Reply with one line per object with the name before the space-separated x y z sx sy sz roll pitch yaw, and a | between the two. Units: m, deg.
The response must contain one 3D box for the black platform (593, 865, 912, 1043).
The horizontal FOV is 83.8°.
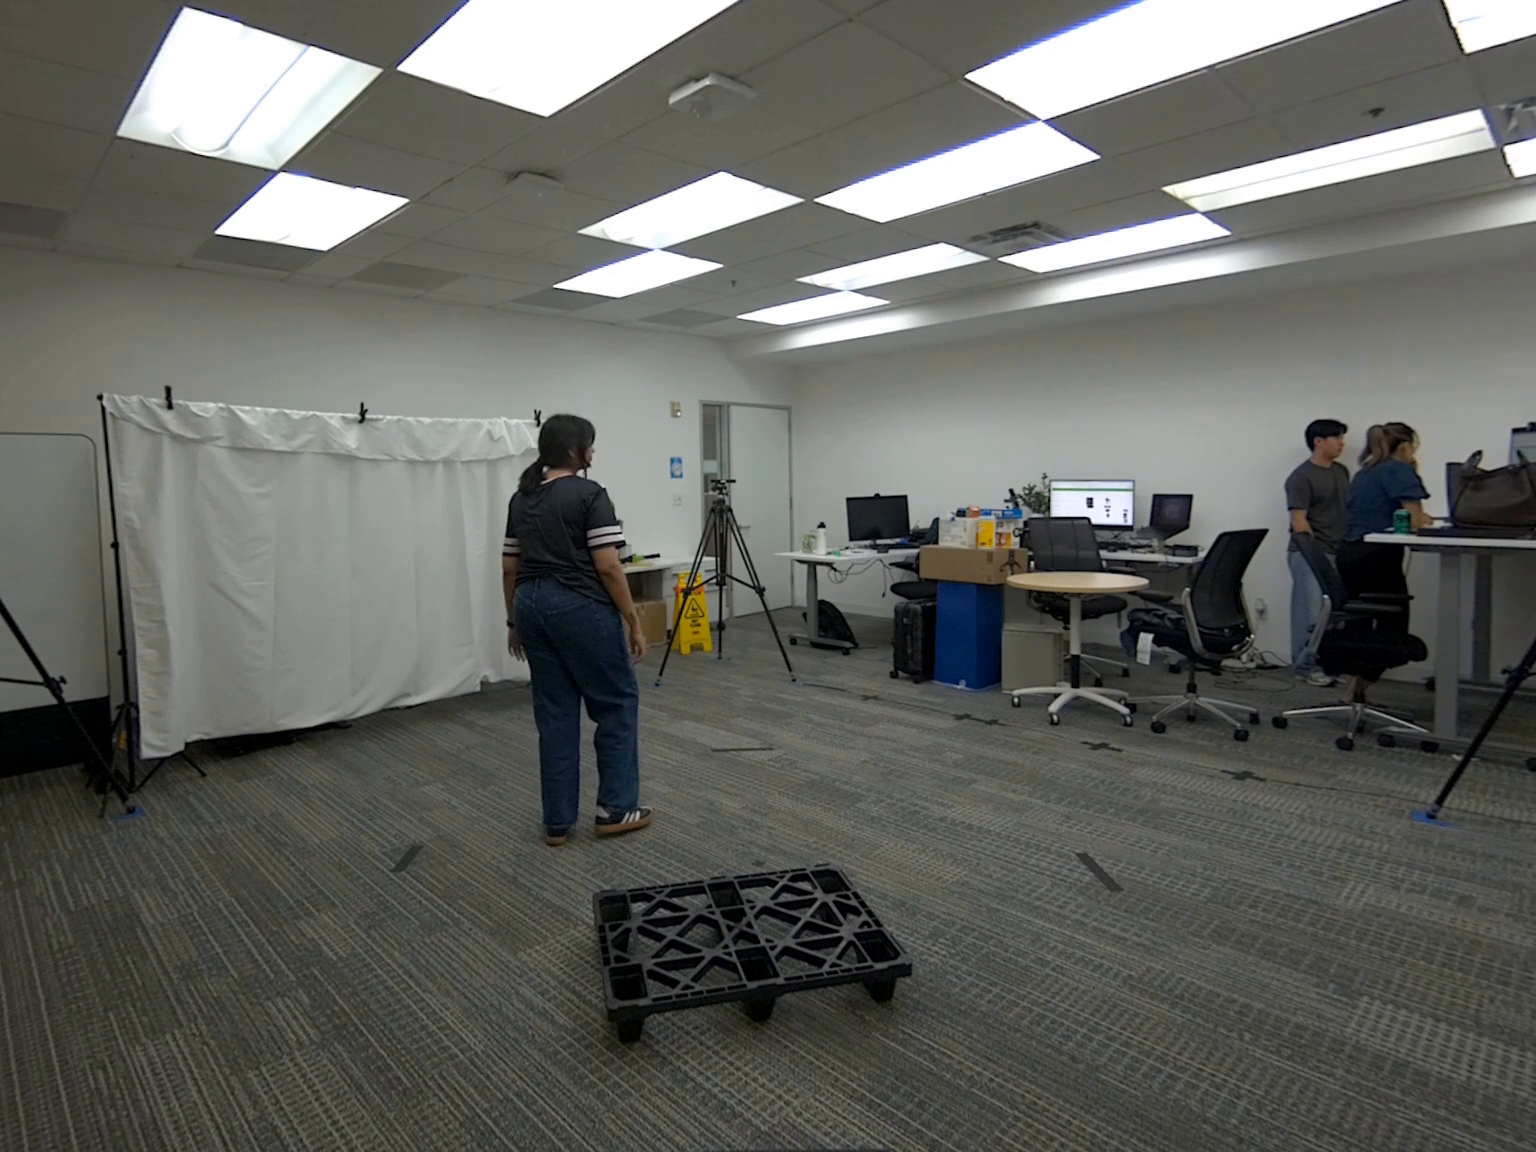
black platform | -0.080 1.059 2.438 0.796 0.143 0.615 -3 6 -13
